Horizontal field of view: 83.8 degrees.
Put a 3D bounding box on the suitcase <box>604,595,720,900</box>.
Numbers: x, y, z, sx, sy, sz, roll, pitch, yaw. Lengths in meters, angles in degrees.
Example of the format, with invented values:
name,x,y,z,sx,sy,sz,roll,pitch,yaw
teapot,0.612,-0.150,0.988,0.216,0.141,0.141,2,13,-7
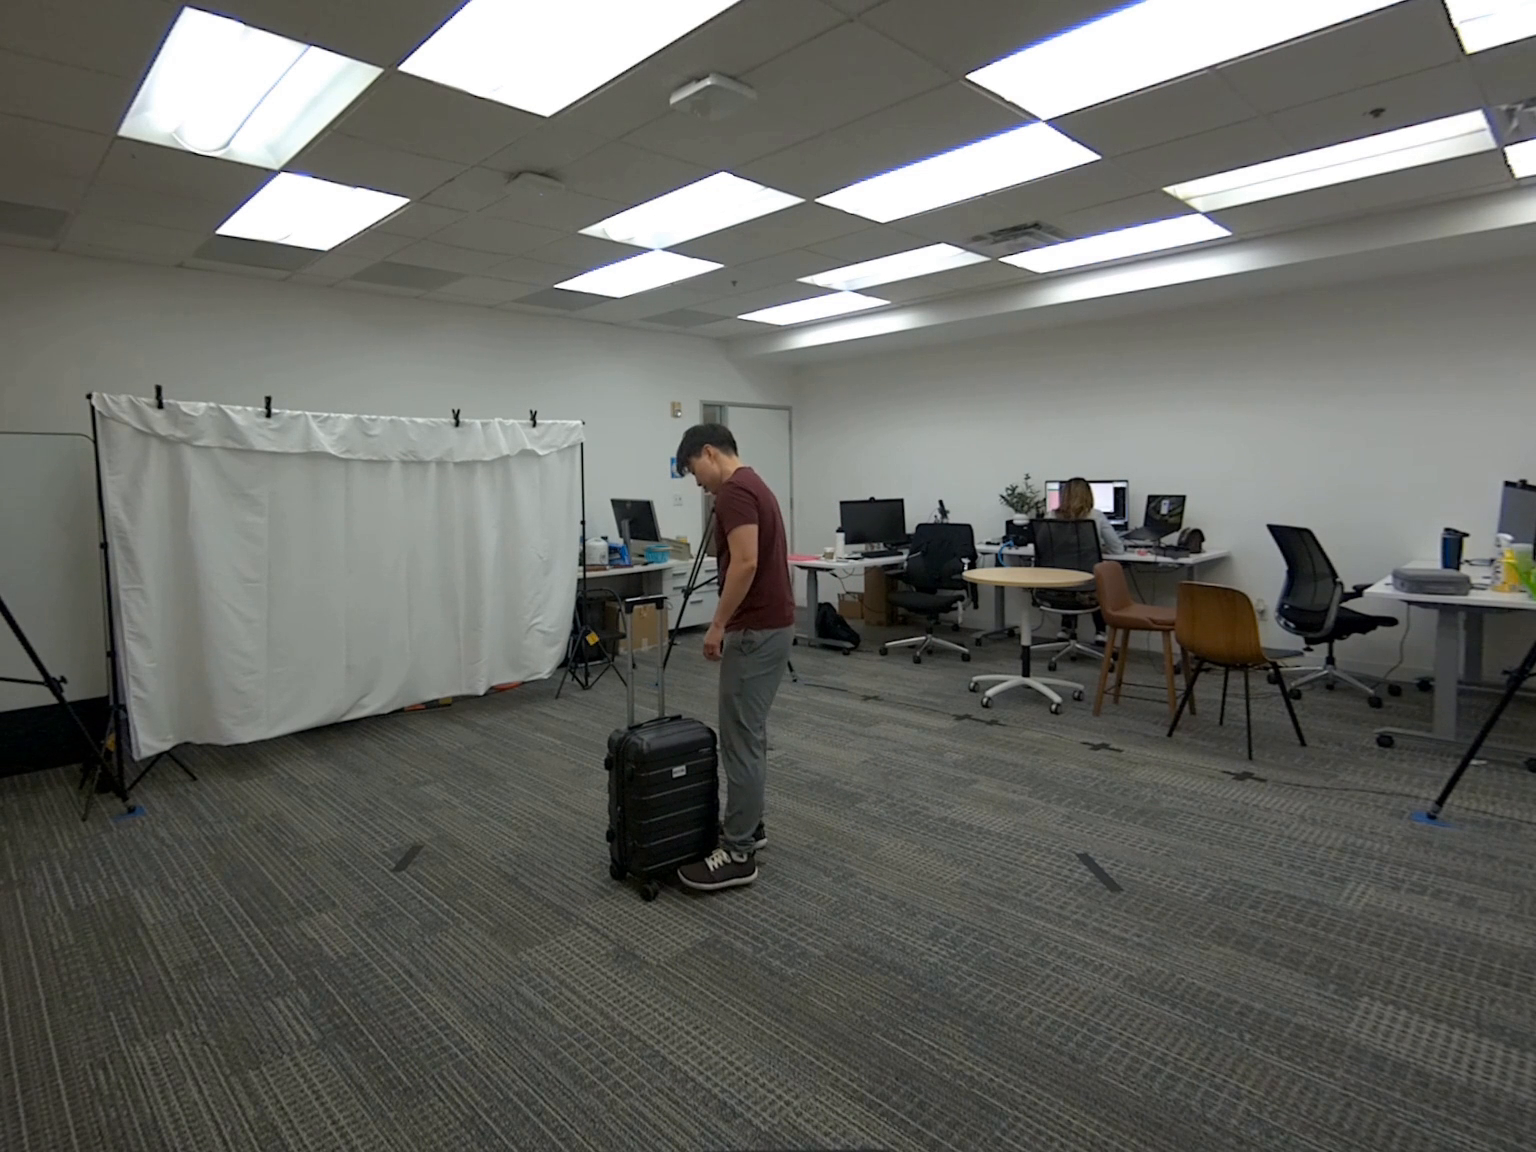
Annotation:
name,x,y,z,sx,sy,sz,roll,pitch,yaw
suitcase,-0.376,0.586,3.005,0.375,0.974,0.265,-5,6,-34
